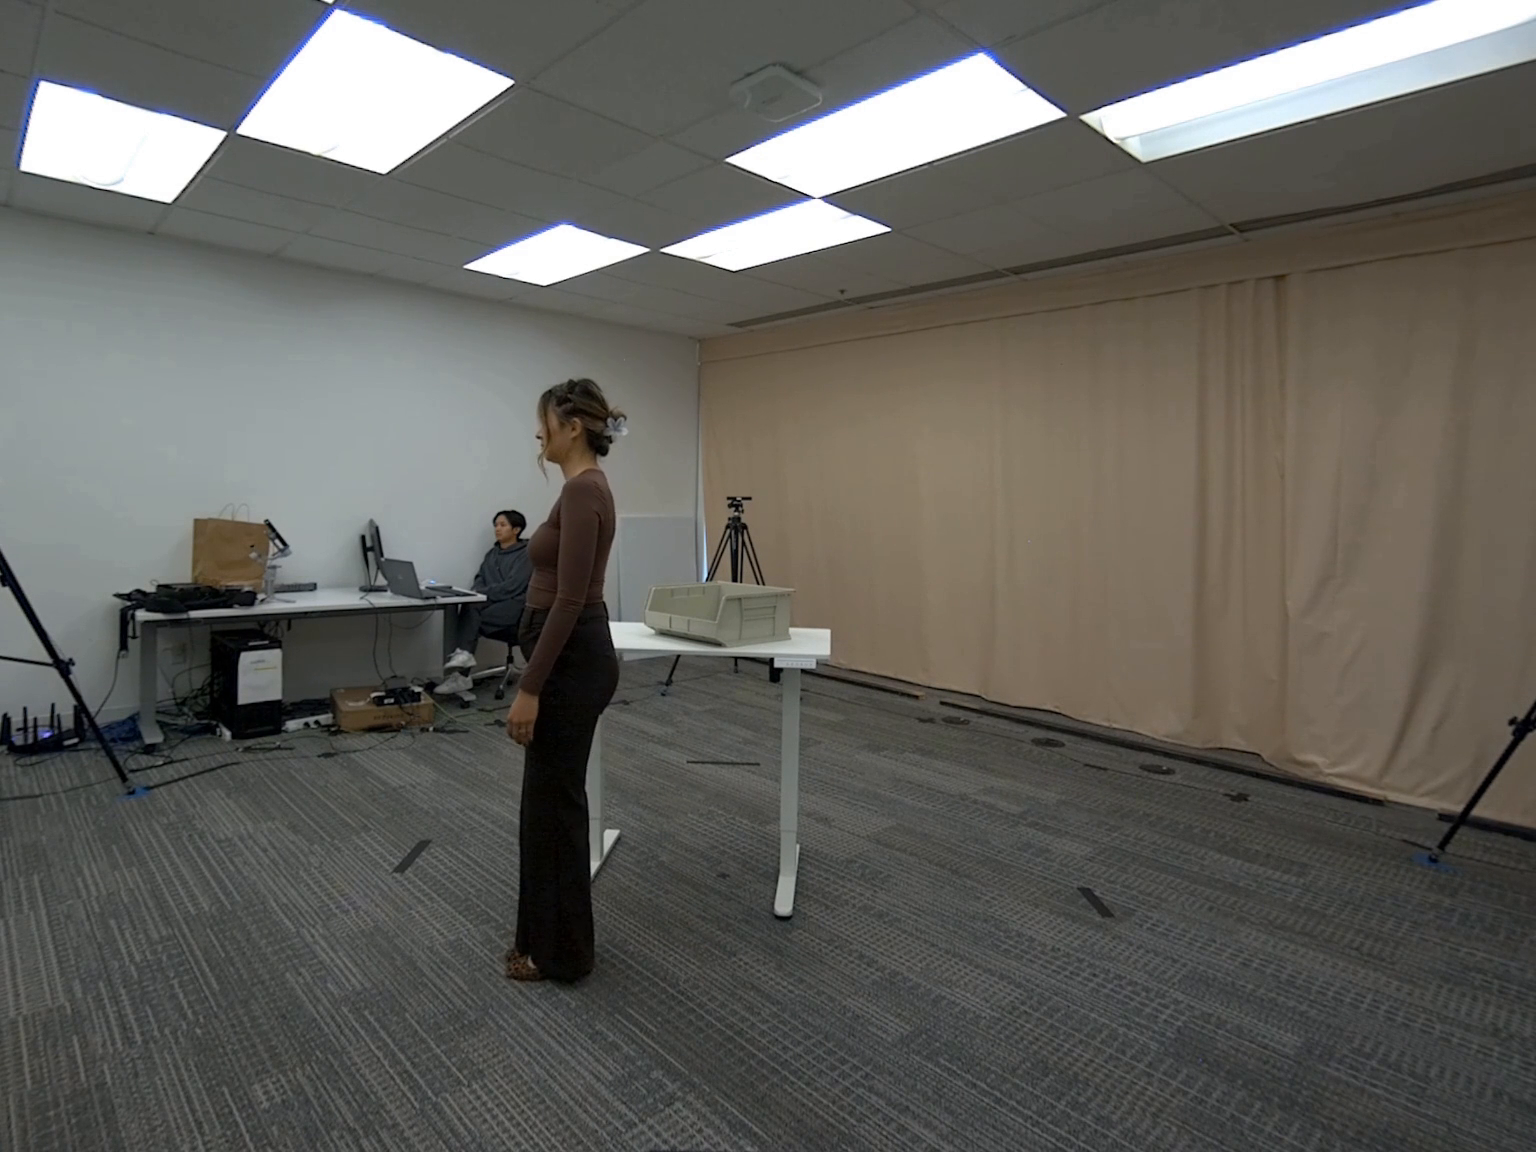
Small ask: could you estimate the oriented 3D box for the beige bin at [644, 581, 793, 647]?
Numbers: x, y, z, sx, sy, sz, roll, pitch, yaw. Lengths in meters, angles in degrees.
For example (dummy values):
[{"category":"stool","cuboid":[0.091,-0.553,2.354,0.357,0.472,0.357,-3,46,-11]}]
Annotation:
[{"category":"beige bin","cuboid":[-0.188,0.136,3.068,0.368,0.189,0.433,-1,4,-44]}]
